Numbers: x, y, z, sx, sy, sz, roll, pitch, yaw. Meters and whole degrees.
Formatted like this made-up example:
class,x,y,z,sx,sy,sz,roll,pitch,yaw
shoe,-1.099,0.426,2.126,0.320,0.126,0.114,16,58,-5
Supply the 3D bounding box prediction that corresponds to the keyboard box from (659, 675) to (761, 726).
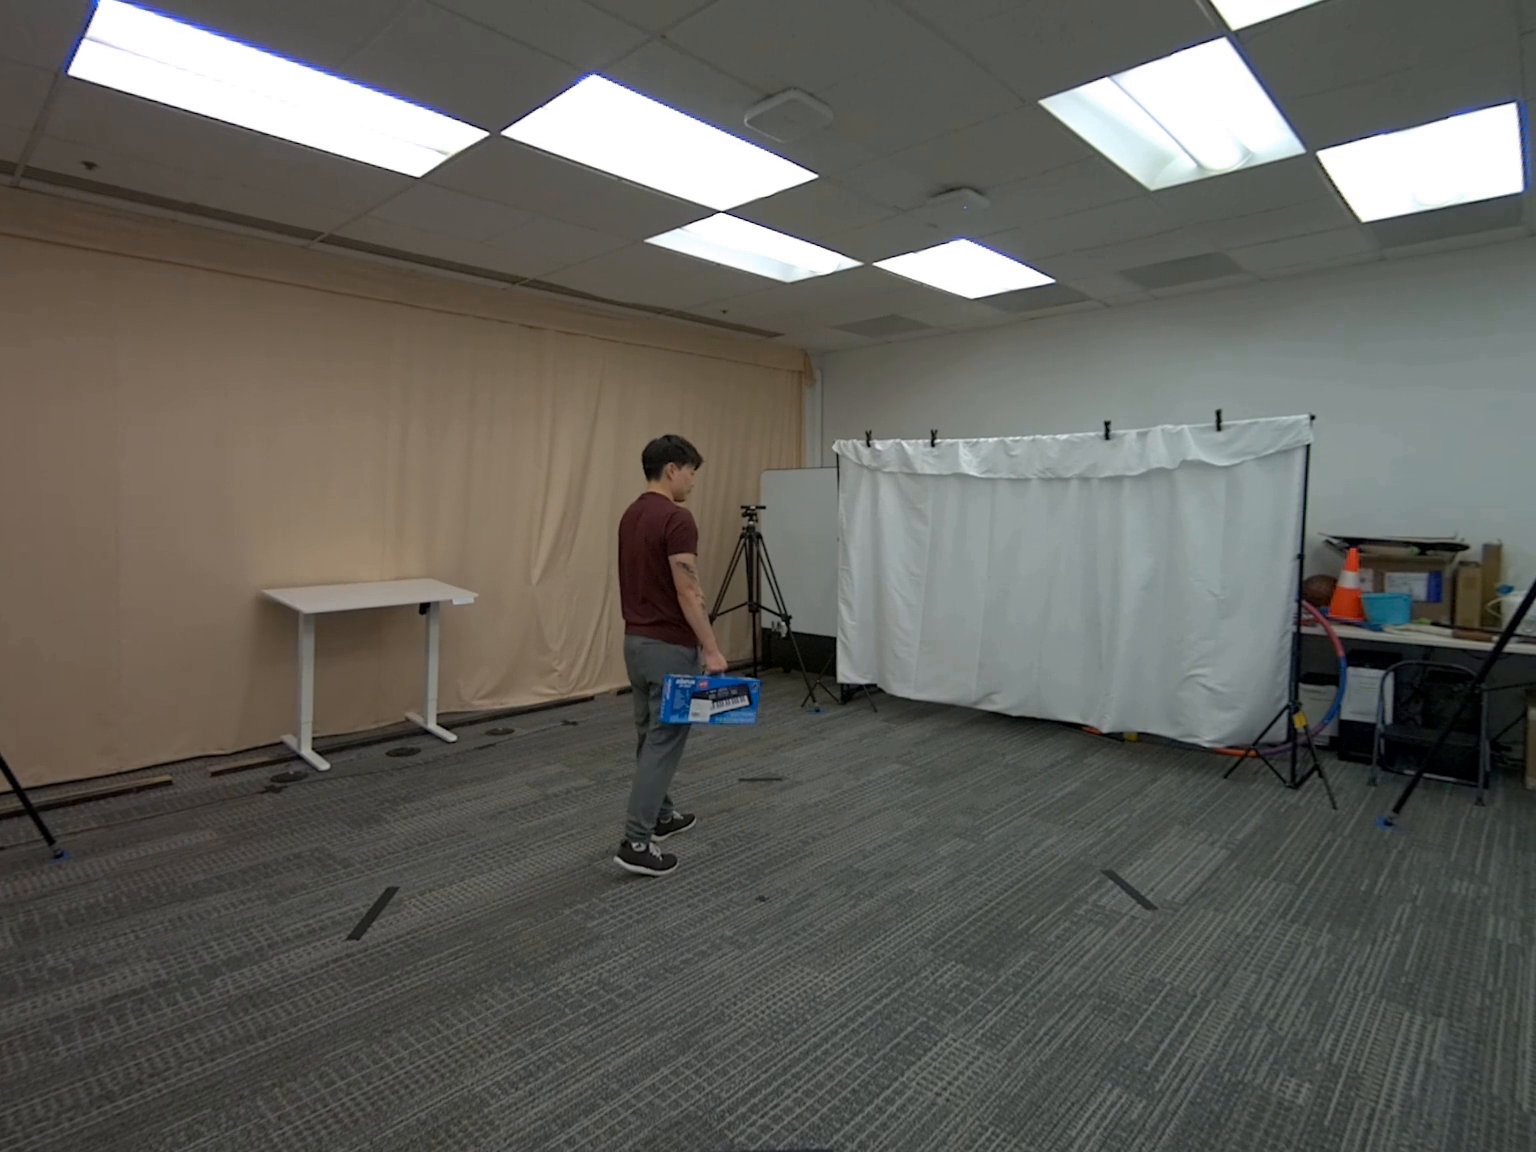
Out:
class,x,y,z,sx,sy,sz,roll,pitch,yaw
keyboard box,-0.214,0.475,3.221,0.422,0.176,0.061,9,-2,-42
